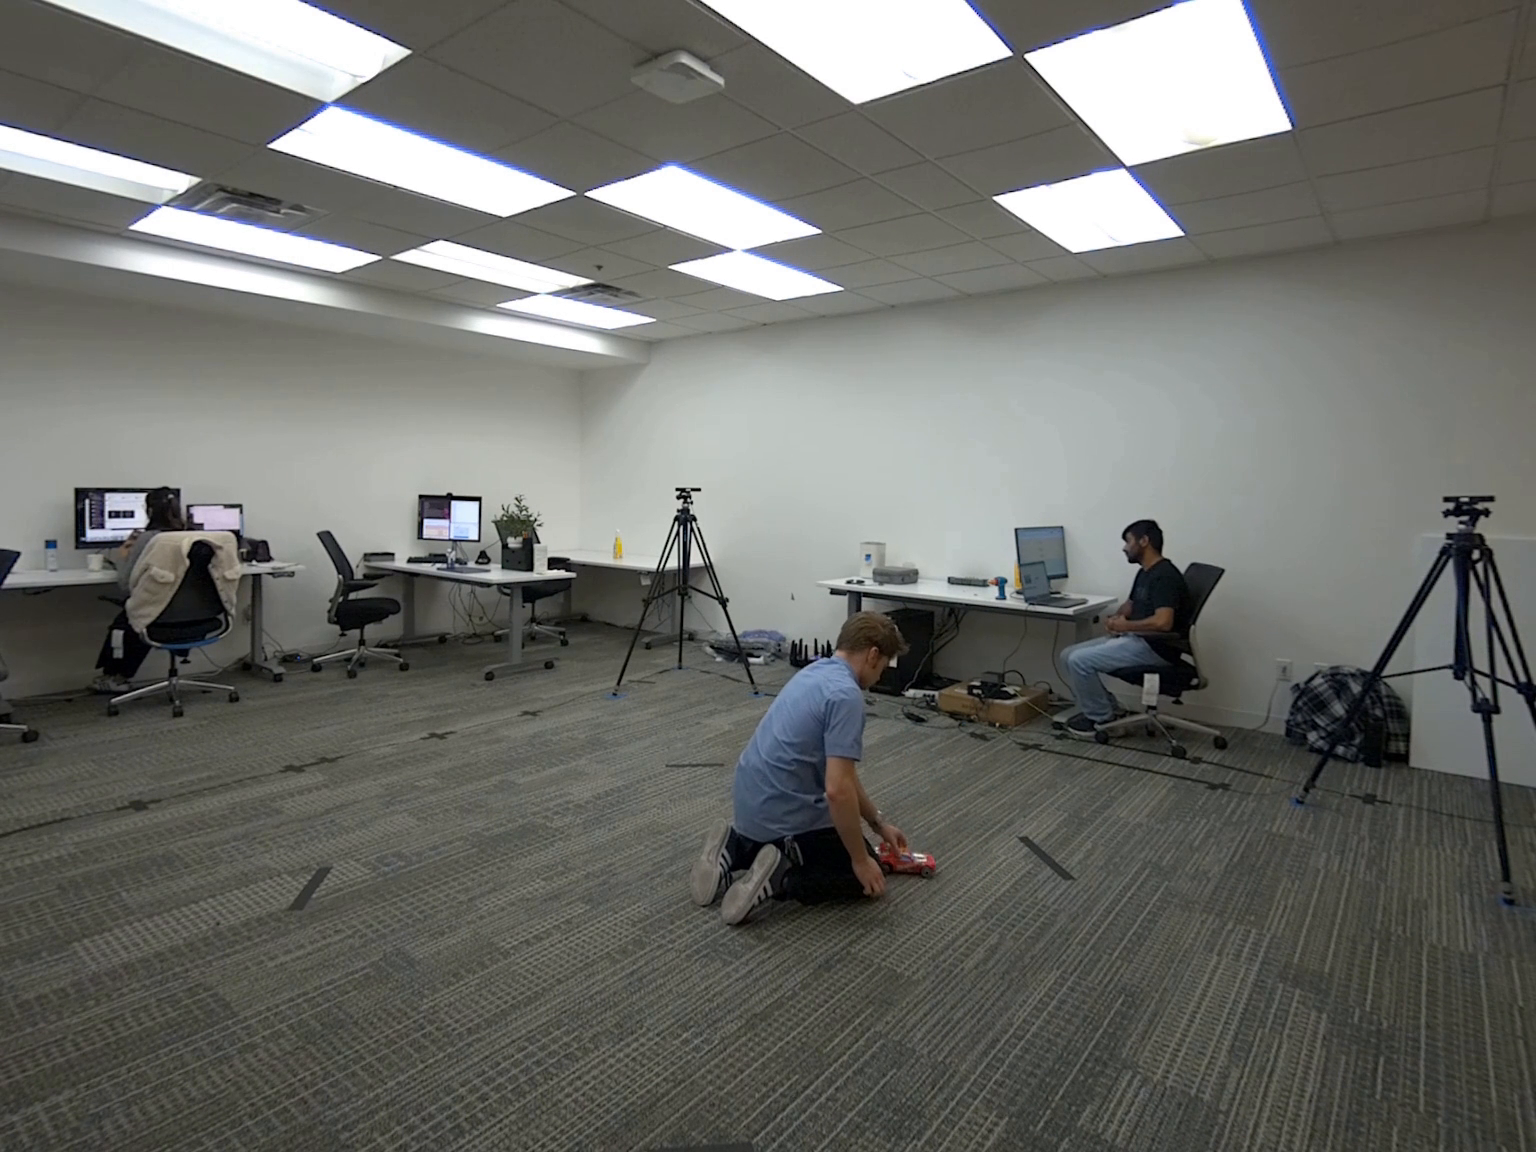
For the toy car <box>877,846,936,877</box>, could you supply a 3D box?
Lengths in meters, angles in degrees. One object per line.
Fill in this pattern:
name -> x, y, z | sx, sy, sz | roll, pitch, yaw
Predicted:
toy car -> 0.481, 1.052, 3.140 | 0.257, 0.083, 0.130 | 13, 5, 6
